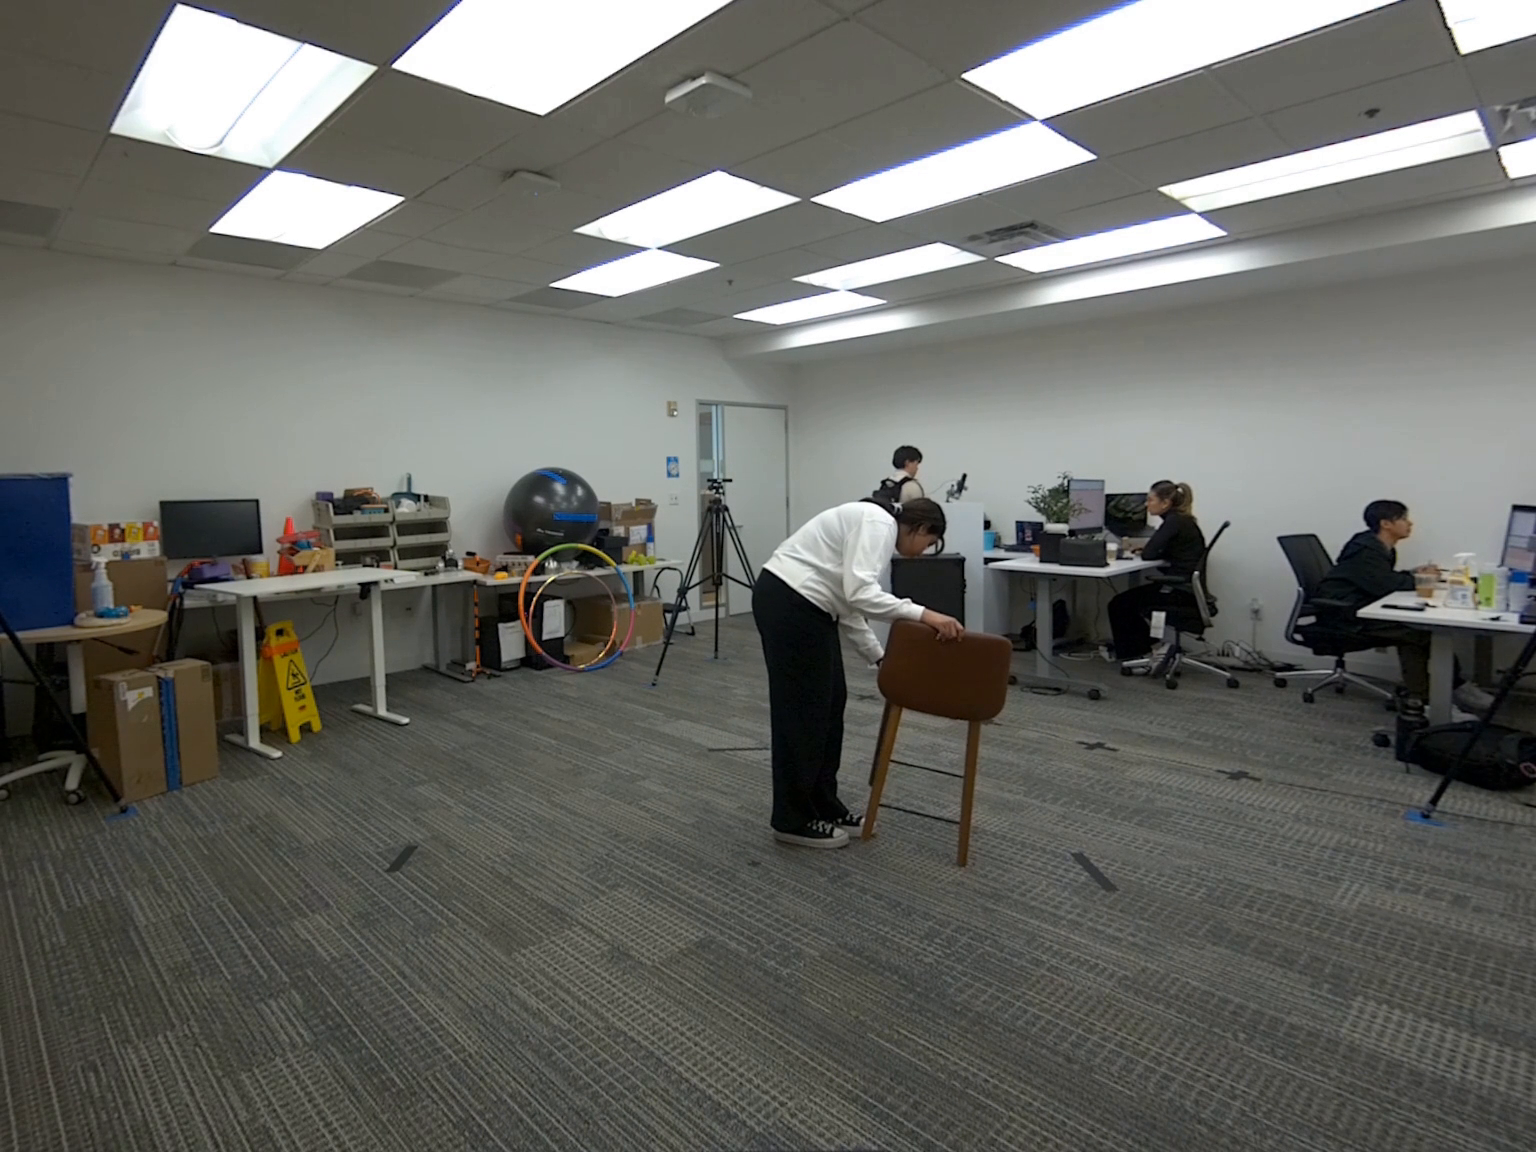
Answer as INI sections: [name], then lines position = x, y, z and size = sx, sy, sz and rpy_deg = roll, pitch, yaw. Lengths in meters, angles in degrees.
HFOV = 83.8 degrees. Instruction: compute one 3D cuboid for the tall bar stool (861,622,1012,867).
[tall bar stool]
position = 0.628, 0.541, 3.207
size = 0.464, 0.879, 0.466
rpy_deg = 10, 16, 13
